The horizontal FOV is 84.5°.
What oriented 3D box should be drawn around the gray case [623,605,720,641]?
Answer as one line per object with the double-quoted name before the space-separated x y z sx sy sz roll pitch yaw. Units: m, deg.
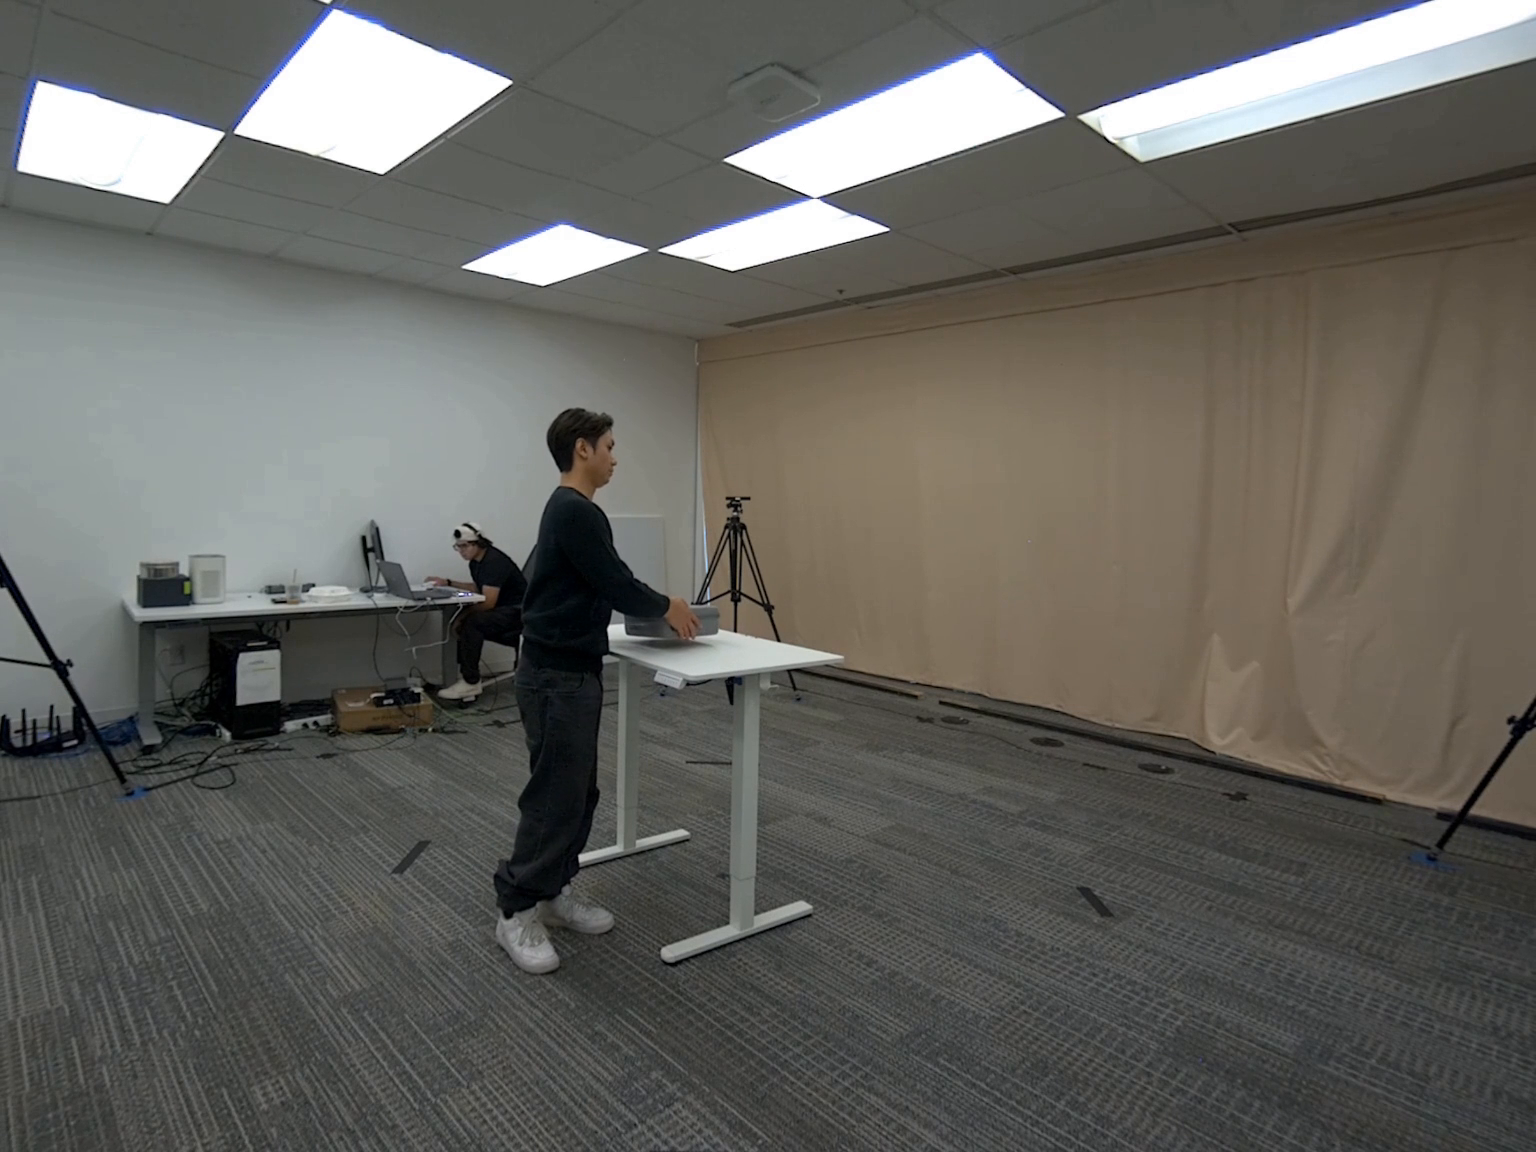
"gray case" -0.348 0.159 2.931 0.254 0.104 0.263 -2 2 -42
